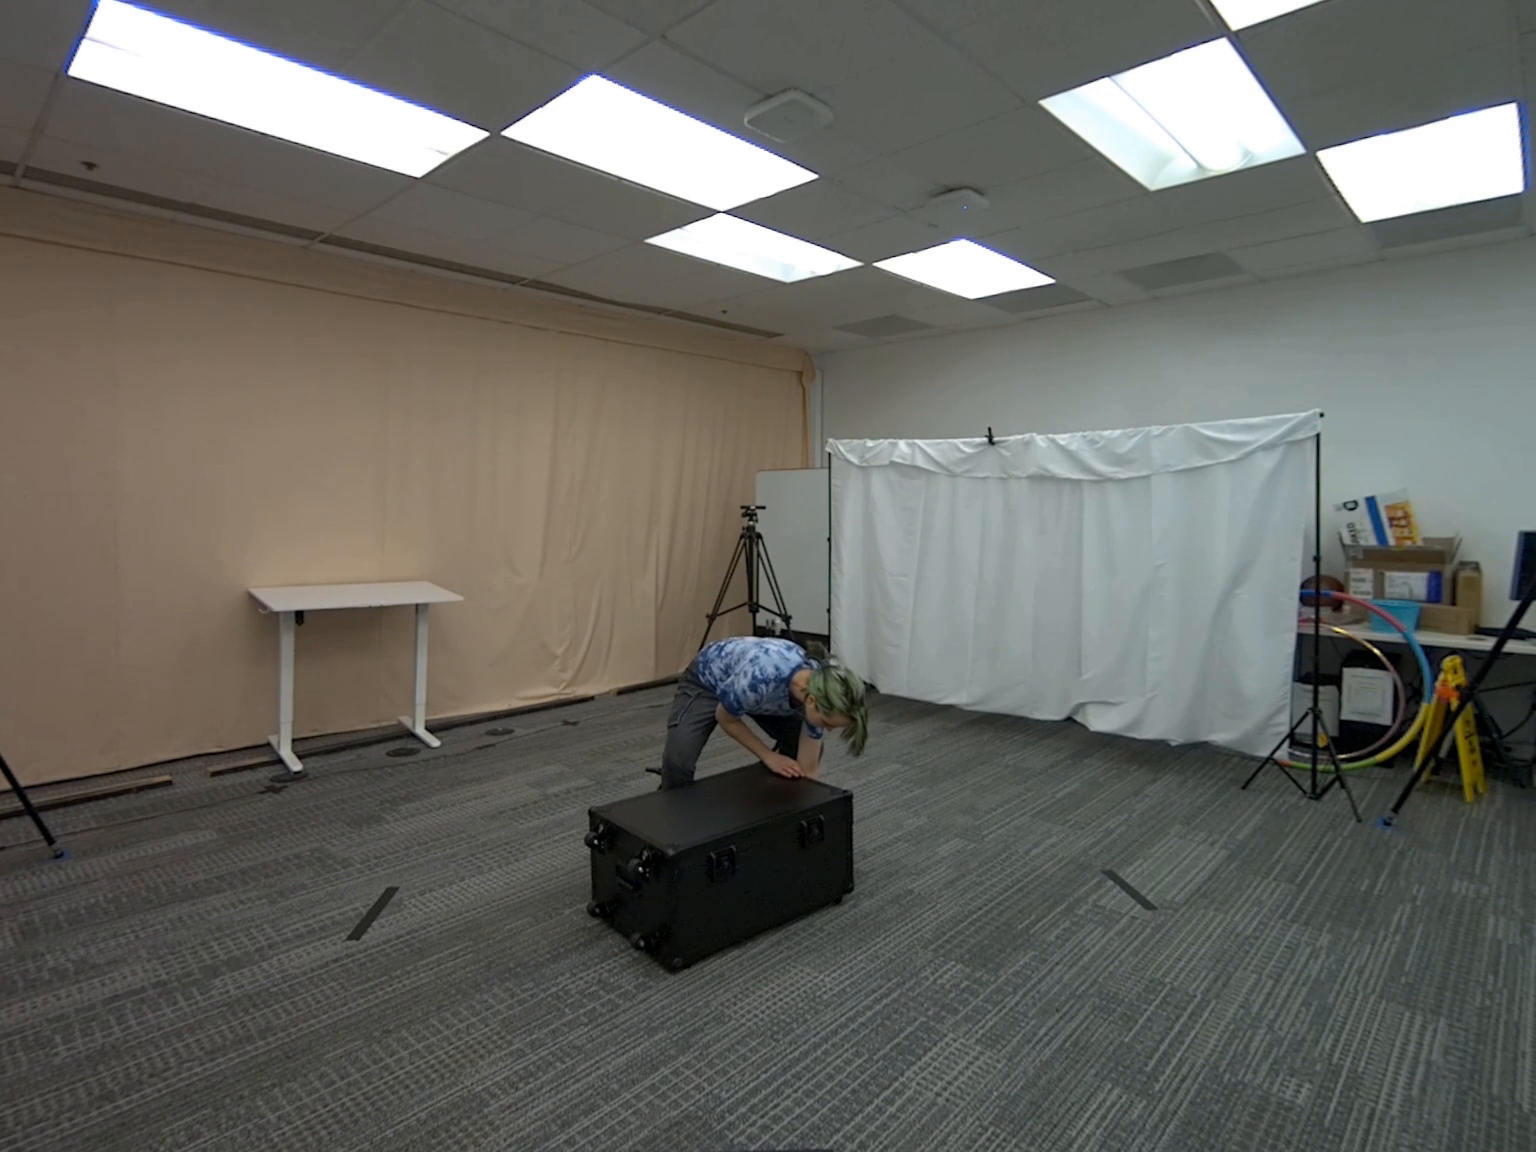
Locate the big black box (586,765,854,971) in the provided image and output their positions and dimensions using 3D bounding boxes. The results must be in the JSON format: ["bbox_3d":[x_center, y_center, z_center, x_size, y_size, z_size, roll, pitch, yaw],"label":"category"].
[{"bbox_3d":[-0.174,0.962,2.881,0.836,0.395,0.538,-4,5,-39],"label":"big black box"}]
